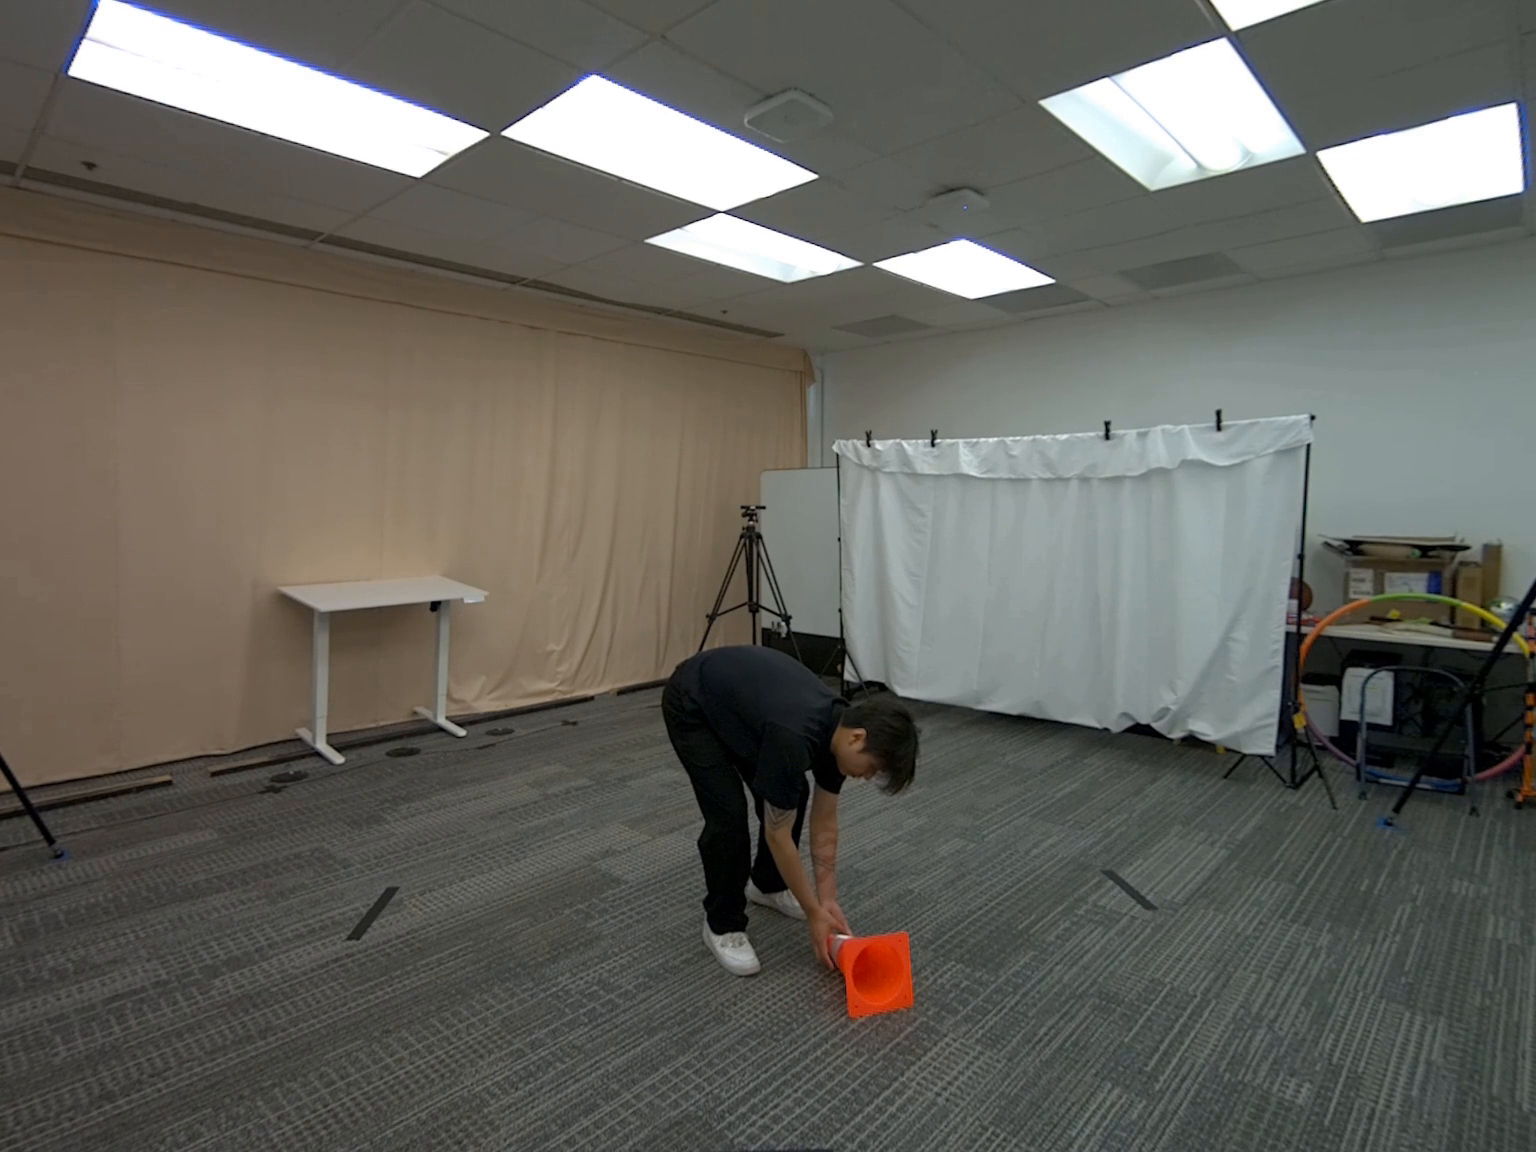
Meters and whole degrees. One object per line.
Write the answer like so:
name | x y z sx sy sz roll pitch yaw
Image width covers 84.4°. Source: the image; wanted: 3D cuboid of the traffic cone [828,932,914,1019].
traffic cone | 0.248 1.128 2.503 0.200 0.206 0.389 -1 -7 -18
